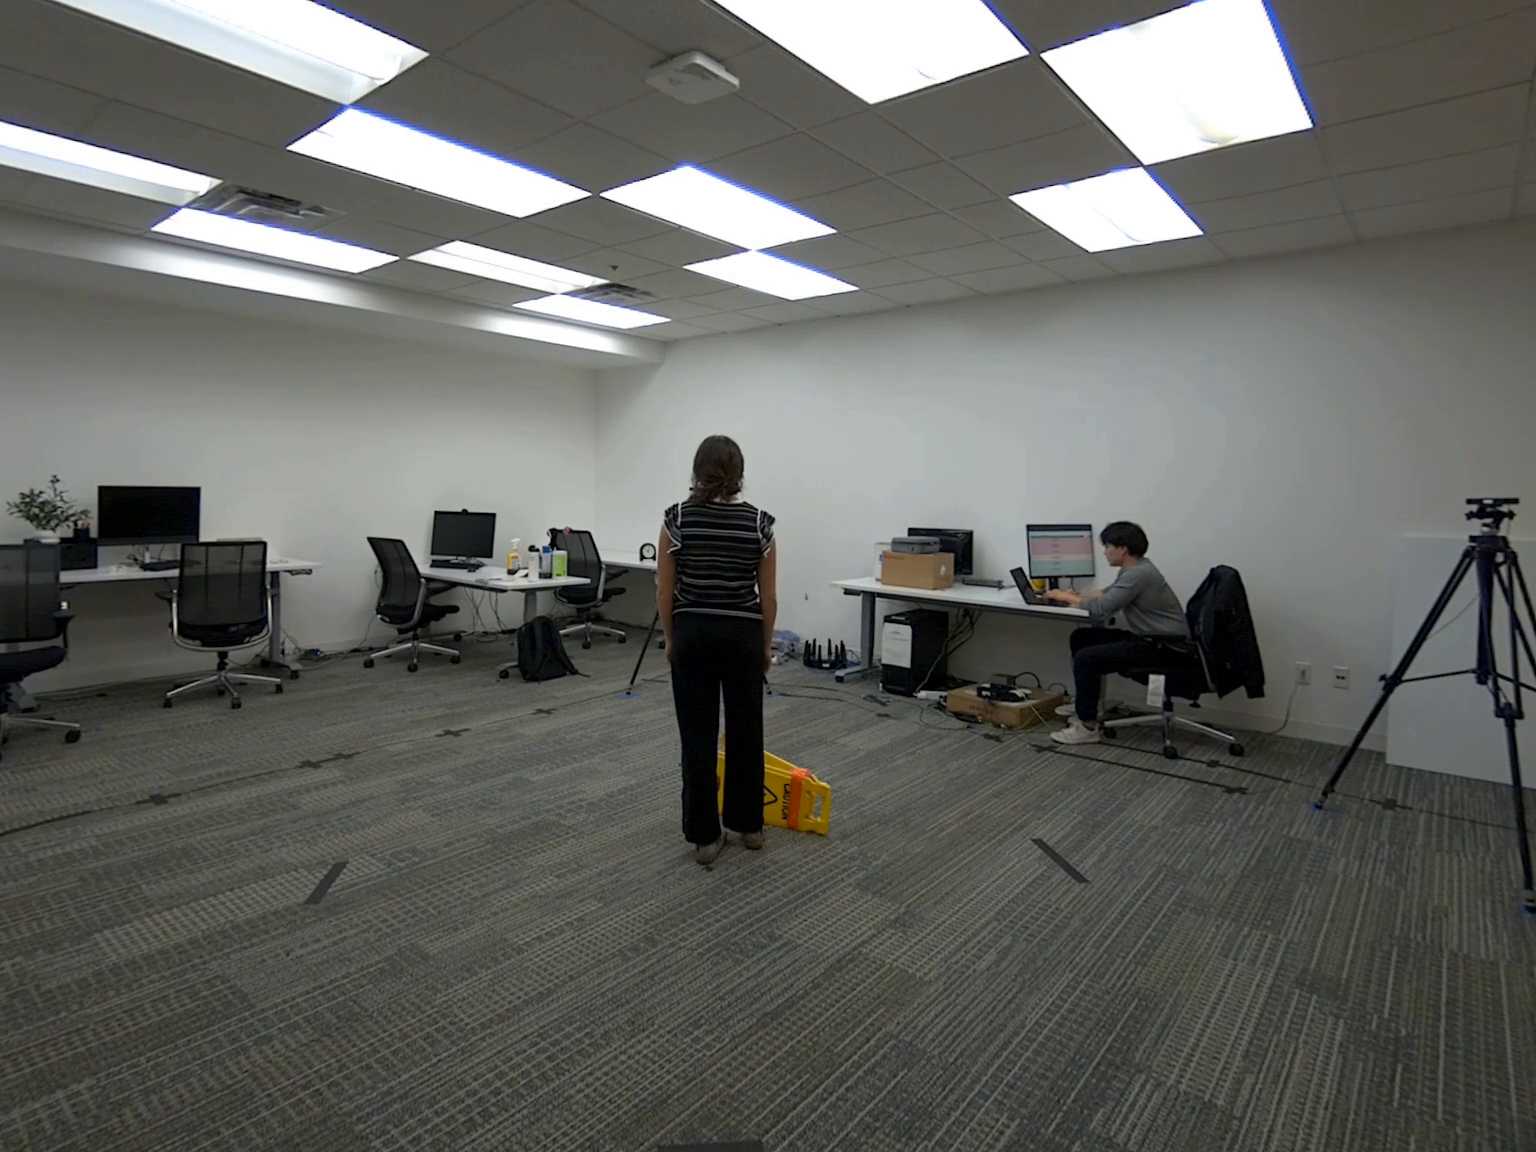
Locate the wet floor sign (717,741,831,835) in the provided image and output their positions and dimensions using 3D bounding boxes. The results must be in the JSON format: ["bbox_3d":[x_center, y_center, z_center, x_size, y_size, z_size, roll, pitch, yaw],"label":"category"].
[{"bbox_3d":[-0.028,0.896,3.620,0.668,0.281,0.281,8,6,36],"label":"wet floor sign"}]
